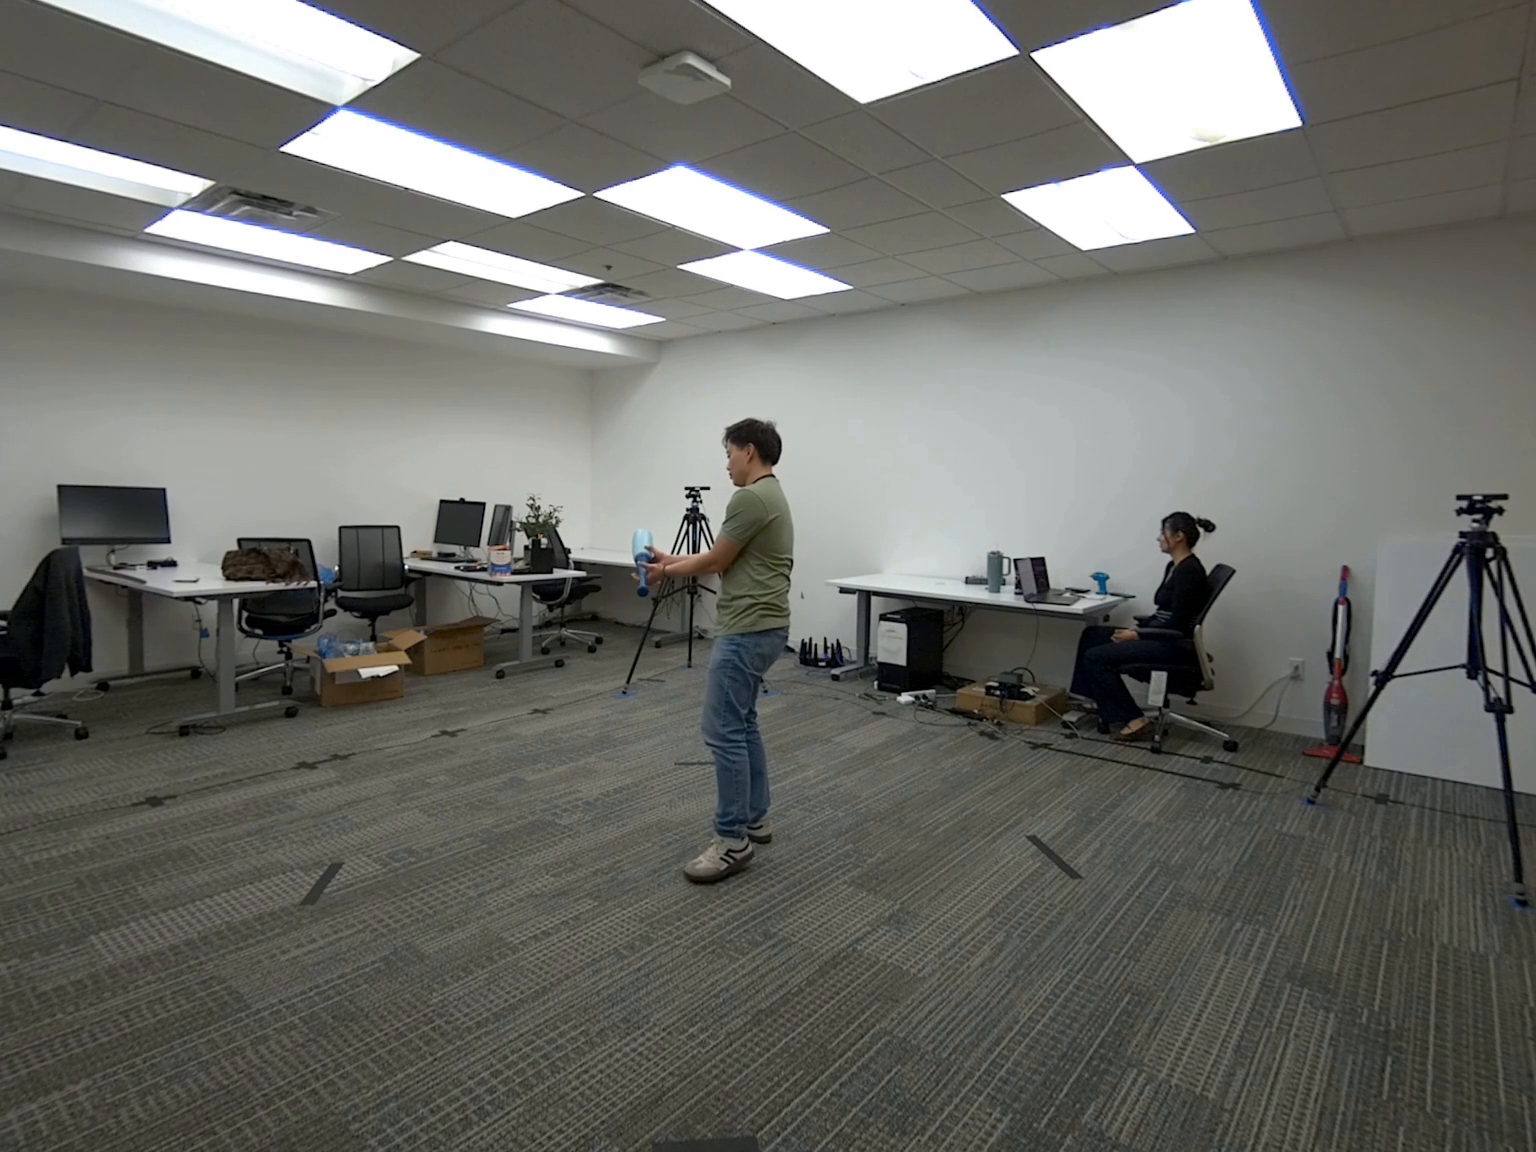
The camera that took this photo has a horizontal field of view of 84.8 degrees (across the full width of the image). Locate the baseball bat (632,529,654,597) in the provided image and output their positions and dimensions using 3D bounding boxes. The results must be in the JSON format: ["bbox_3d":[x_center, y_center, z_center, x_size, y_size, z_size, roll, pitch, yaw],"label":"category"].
[{"bbox_3d":[-0.533,-0.061,3.506,0.088,0.087,0.558,0,25,-8],"label":"baseball bat"}]
